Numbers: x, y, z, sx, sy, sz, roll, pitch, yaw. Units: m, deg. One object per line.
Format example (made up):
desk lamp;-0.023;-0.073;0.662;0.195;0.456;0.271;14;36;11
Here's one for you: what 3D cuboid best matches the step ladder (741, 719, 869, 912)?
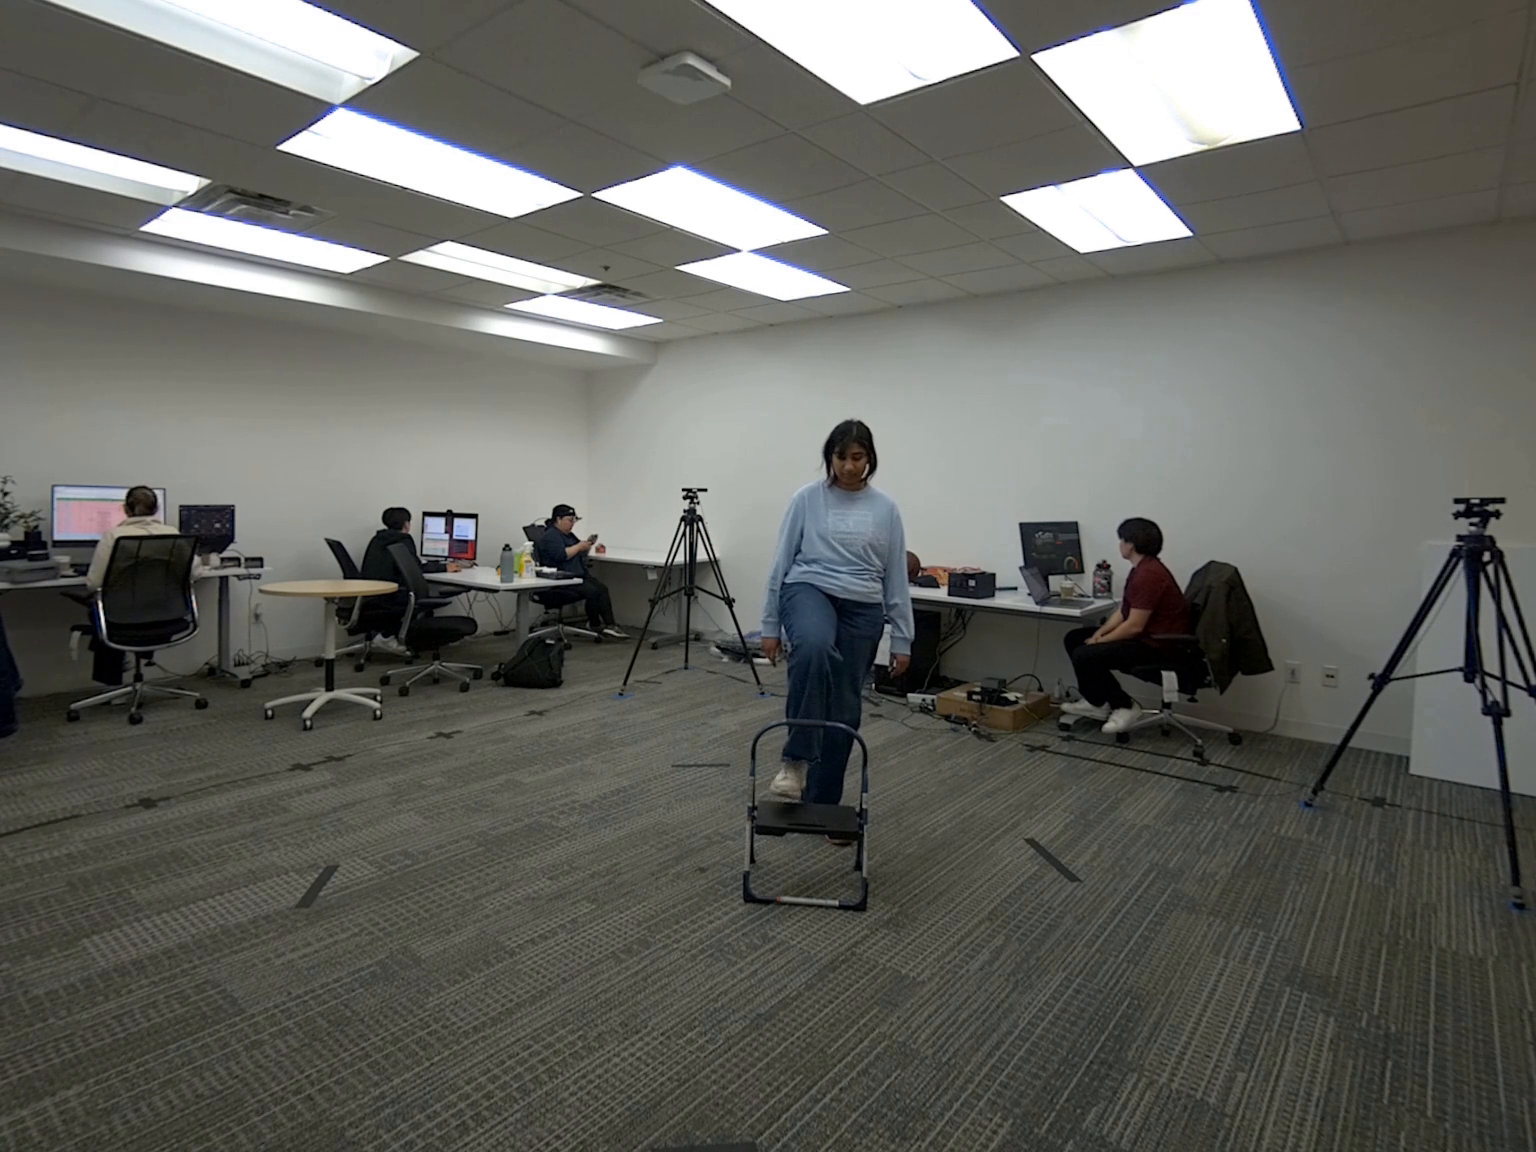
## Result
step ladder;0.127;0.787;2.992;0.433;0.604;0.349;1;3;4
